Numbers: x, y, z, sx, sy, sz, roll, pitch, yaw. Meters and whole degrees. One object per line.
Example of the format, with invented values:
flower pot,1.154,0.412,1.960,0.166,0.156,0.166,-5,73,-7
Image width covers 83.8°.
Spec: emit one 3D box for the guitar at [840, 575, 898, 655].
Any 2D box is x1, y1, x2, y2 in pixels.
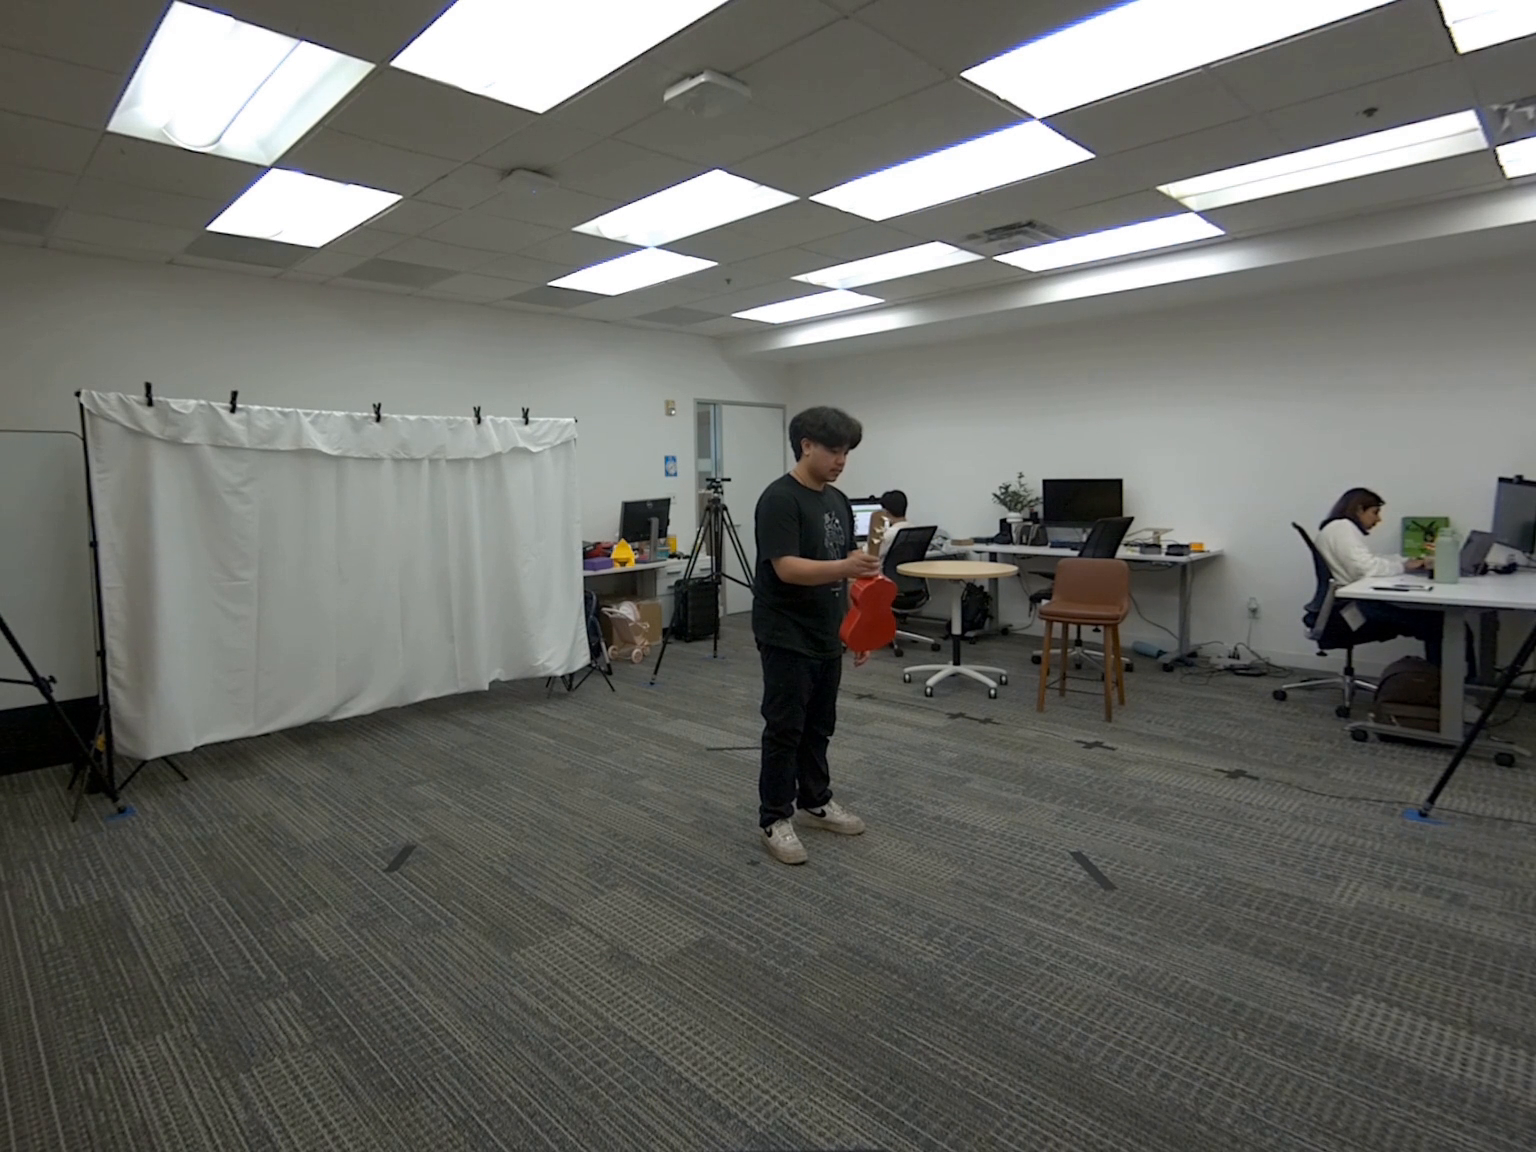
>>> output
guitar,0.316,0.030,2.831,0.190,0.485,0.073,-16,30,-19
